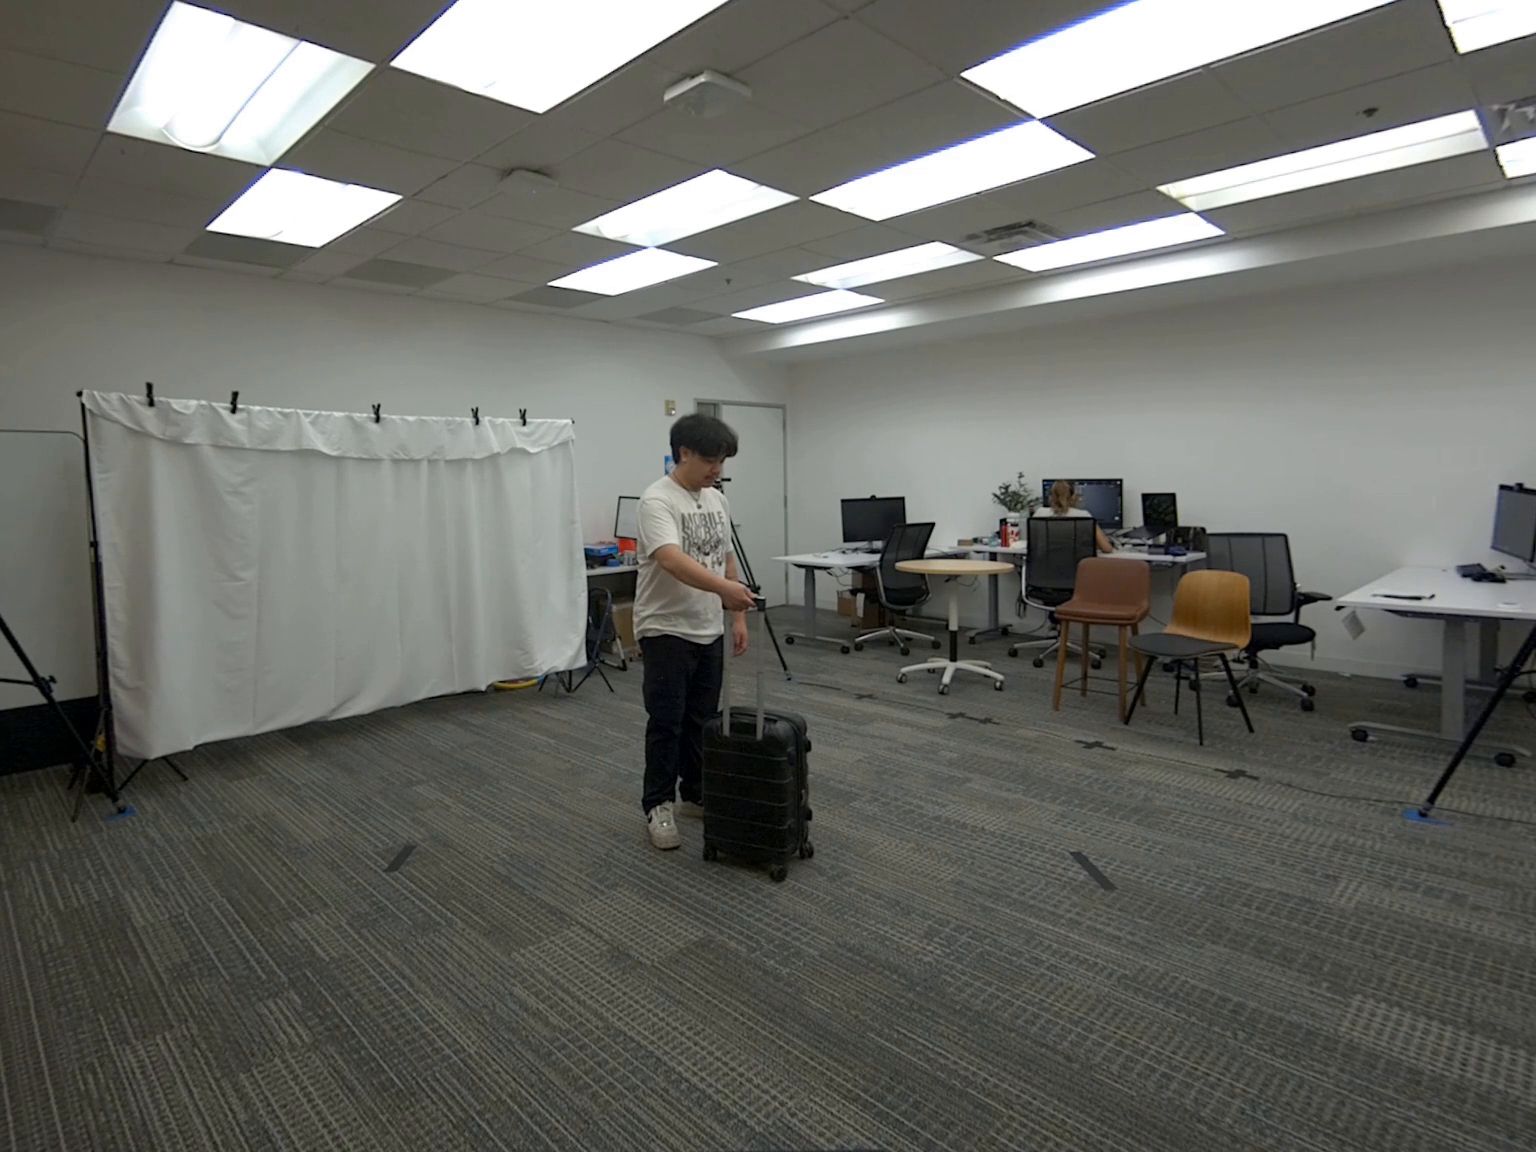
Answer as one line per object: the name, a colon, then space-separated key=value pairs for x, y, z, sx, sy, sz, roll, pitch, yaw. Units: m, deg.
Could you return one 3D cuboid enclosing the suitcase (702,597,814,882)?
suitcase: x=-0.042 y=0.571 z=3.114 sx=0.393 sy=0.976 sz=0.252 roll=1 pitch=3 yaw=25
